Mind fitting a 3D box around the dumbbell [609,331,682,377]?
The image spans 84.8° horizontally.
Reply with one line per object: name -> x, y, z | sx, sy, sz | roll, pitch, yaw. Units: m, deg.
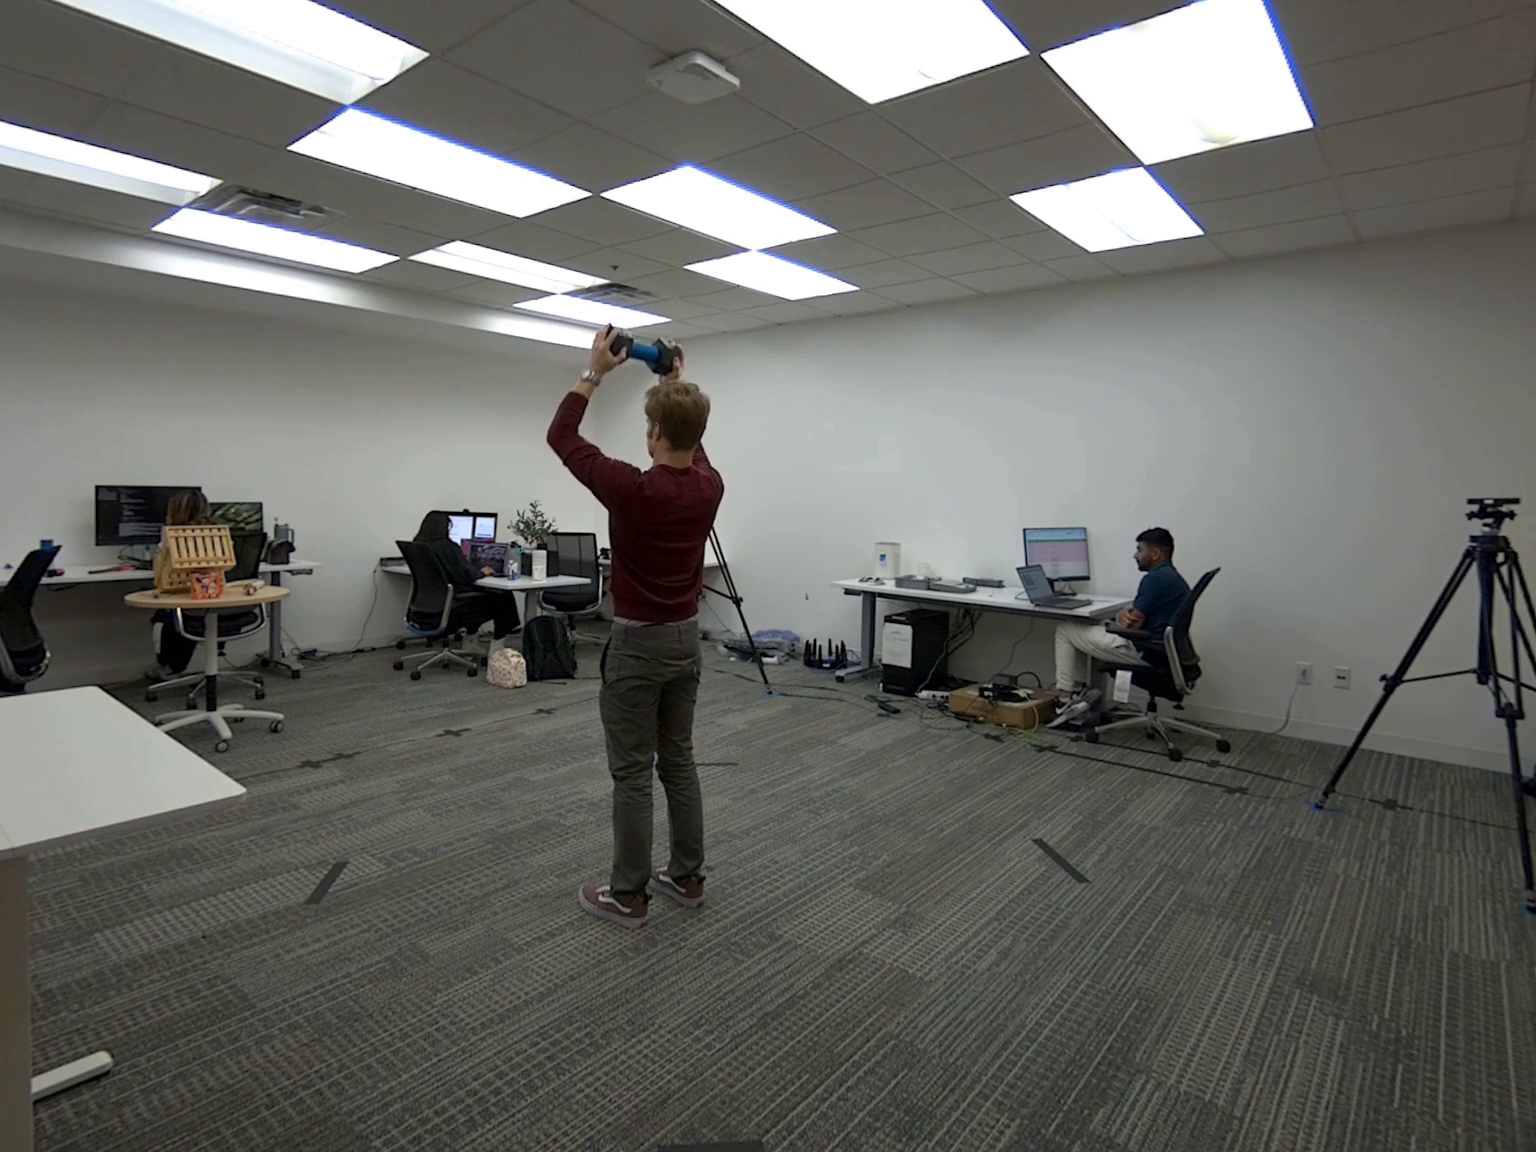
dumbbell -> -0.438, -0.747, 2.852 | 0.284, 0.122, 0.113 | 3, 11, -45
